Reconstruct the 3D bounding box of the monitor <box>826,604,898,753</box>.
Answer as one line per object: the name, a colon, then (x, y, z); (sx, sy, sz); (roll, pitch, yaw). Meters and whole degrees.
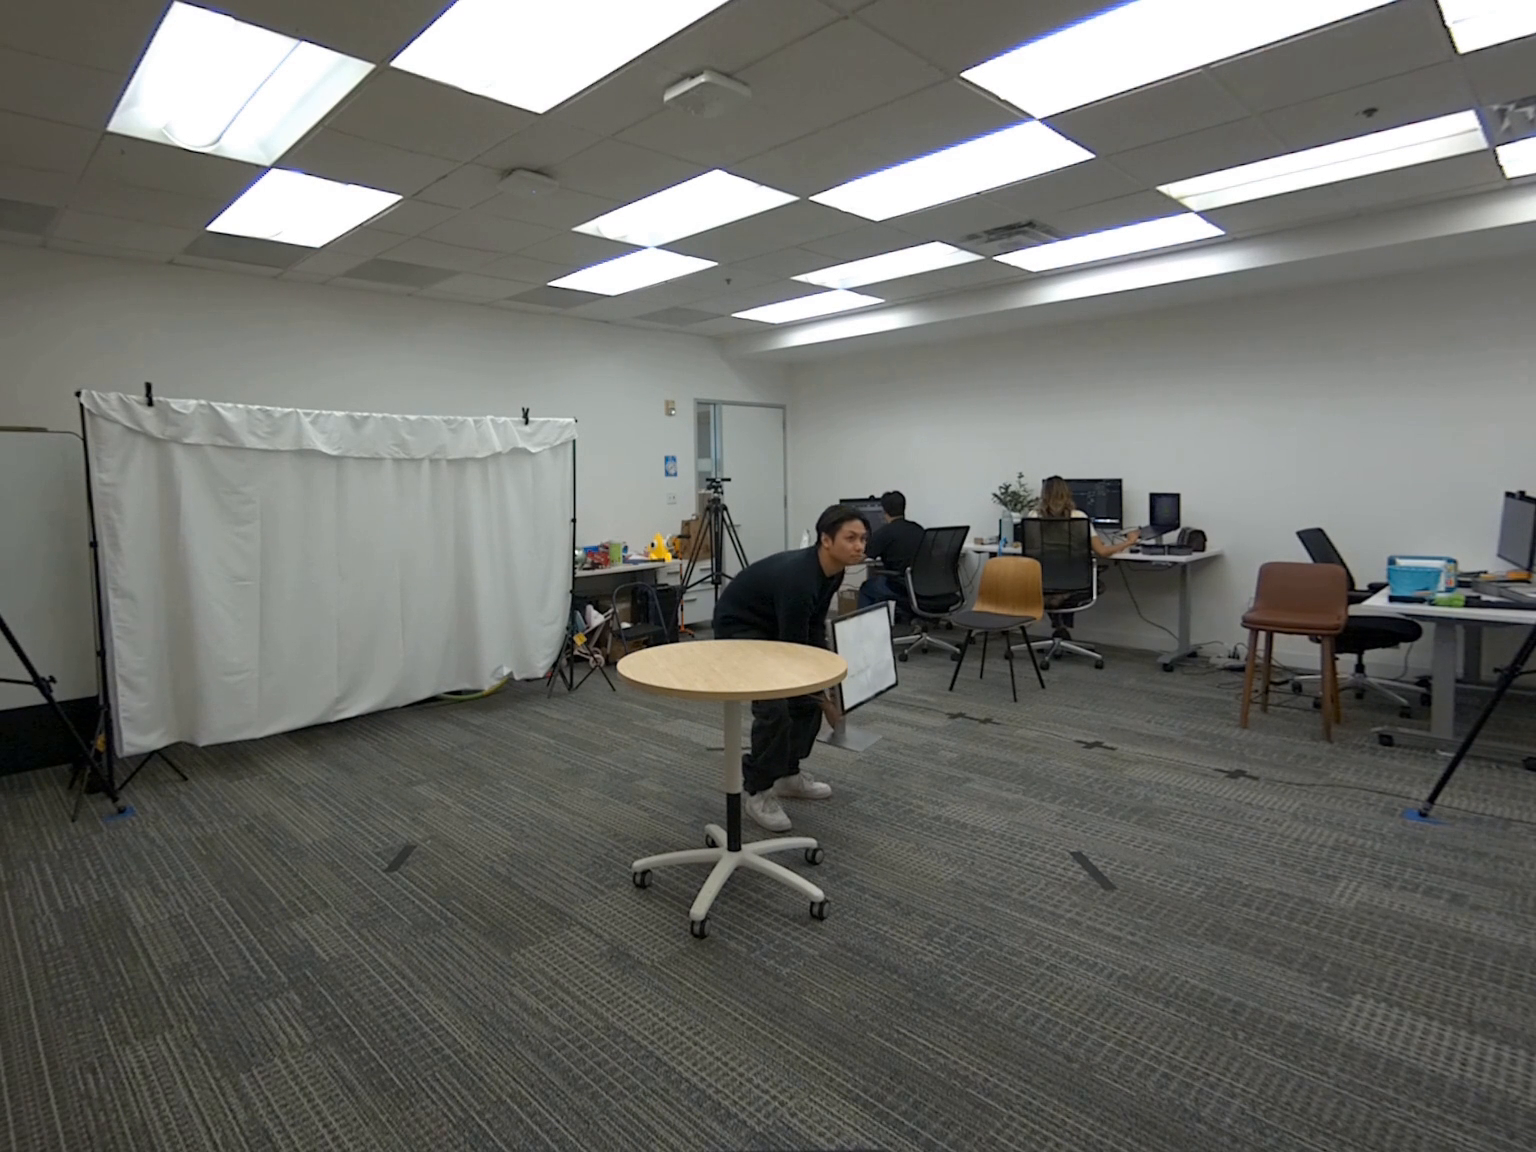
monitor: (0.348, 0.405, 3.482); (0.192, 0.519, 0.527); (8, 8, 30)
